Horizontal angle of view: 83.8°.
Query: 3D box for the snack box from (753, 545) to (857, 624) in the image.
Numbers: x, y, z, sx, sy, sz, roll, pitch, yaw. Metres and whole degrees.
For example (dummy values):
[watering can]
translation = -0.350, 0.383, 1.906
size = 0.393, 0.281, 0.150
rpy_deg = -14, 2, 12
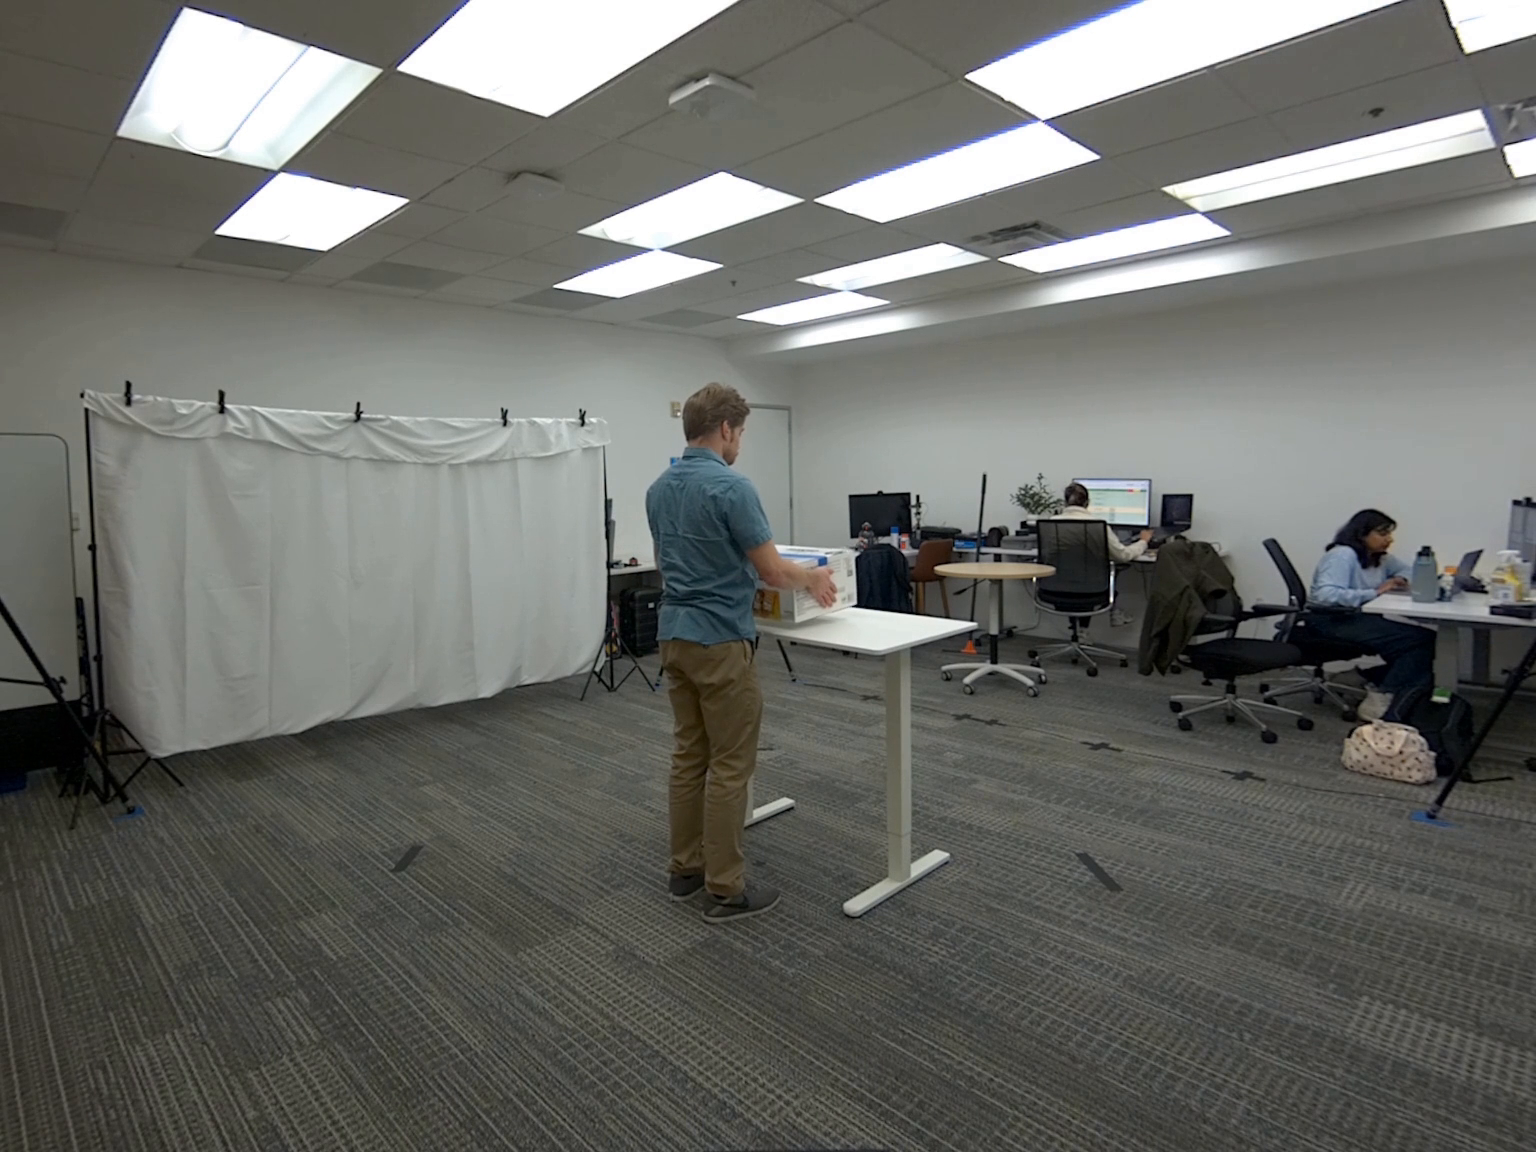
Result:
[snack box]
translation = 0.056, 0.018, 3.130
size = 0.418, 0.204, 0.333
rpy_deg = 6, 14, 45
